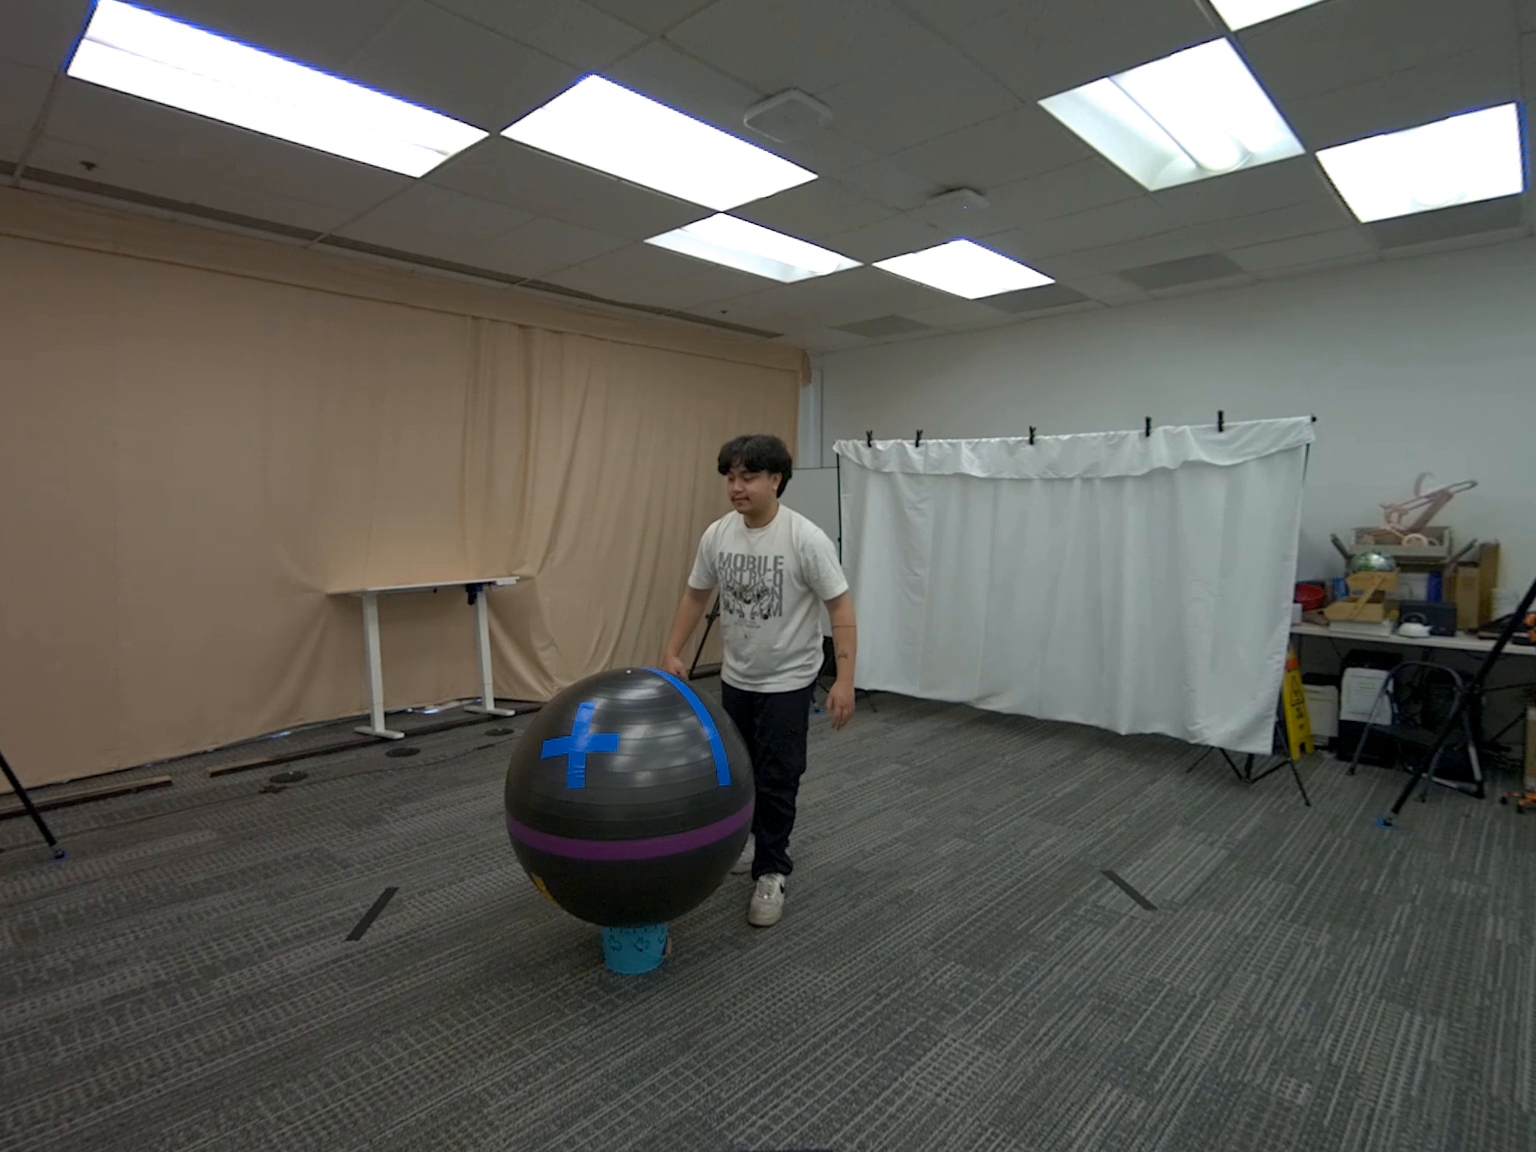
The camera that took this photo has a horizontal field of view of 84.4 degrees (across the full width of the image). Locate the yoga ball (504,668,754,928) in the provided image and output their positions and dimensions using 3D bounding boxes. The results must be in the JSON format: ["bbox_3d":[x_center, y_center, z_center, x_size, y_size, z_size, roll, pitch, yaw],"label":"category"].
[{"bbox_3d":[-0.424,0.670,2.573,0.757,0.756,0.760,0,4,-2],"label":"yoga ball"}]
